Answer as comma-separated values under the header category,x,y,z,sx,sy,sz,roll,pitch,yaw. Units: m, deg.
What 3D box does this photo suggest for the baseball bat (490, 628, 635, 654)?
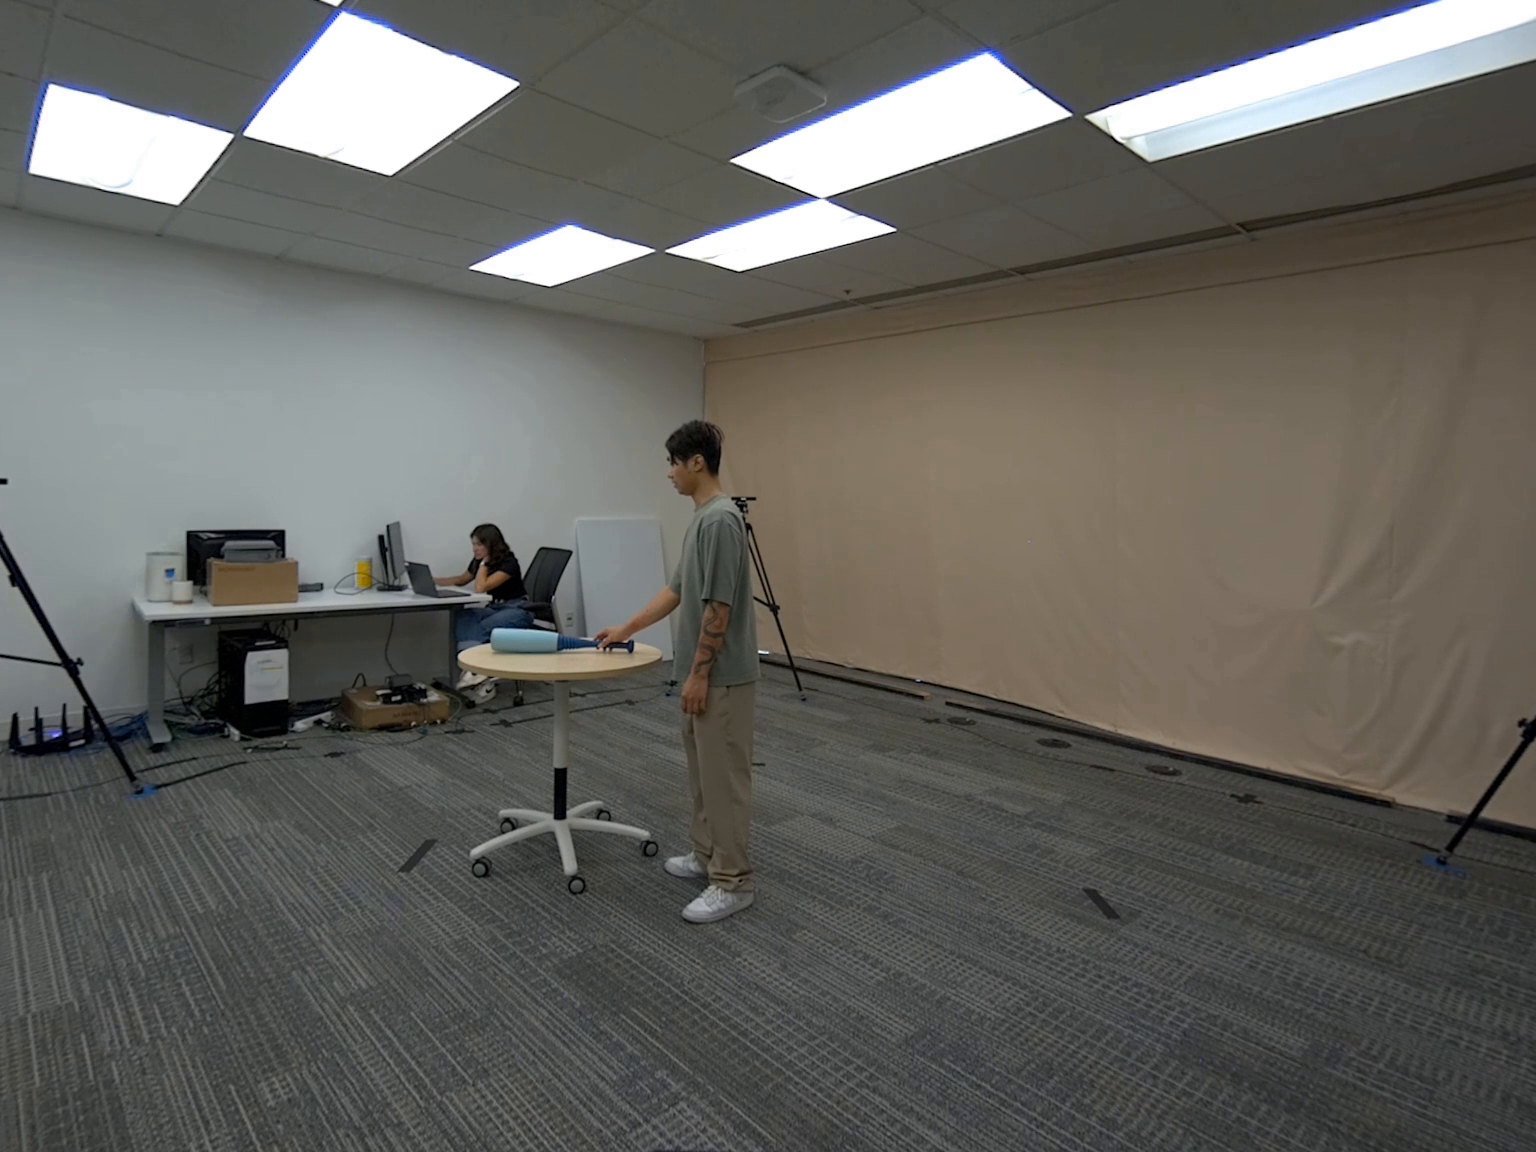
category,x,y,z,sx,sy,sz,roll,pitch,yaw
baseball bat,-0.793,0.259,3.239,0.539,0.089,0.090,4,4,-8
